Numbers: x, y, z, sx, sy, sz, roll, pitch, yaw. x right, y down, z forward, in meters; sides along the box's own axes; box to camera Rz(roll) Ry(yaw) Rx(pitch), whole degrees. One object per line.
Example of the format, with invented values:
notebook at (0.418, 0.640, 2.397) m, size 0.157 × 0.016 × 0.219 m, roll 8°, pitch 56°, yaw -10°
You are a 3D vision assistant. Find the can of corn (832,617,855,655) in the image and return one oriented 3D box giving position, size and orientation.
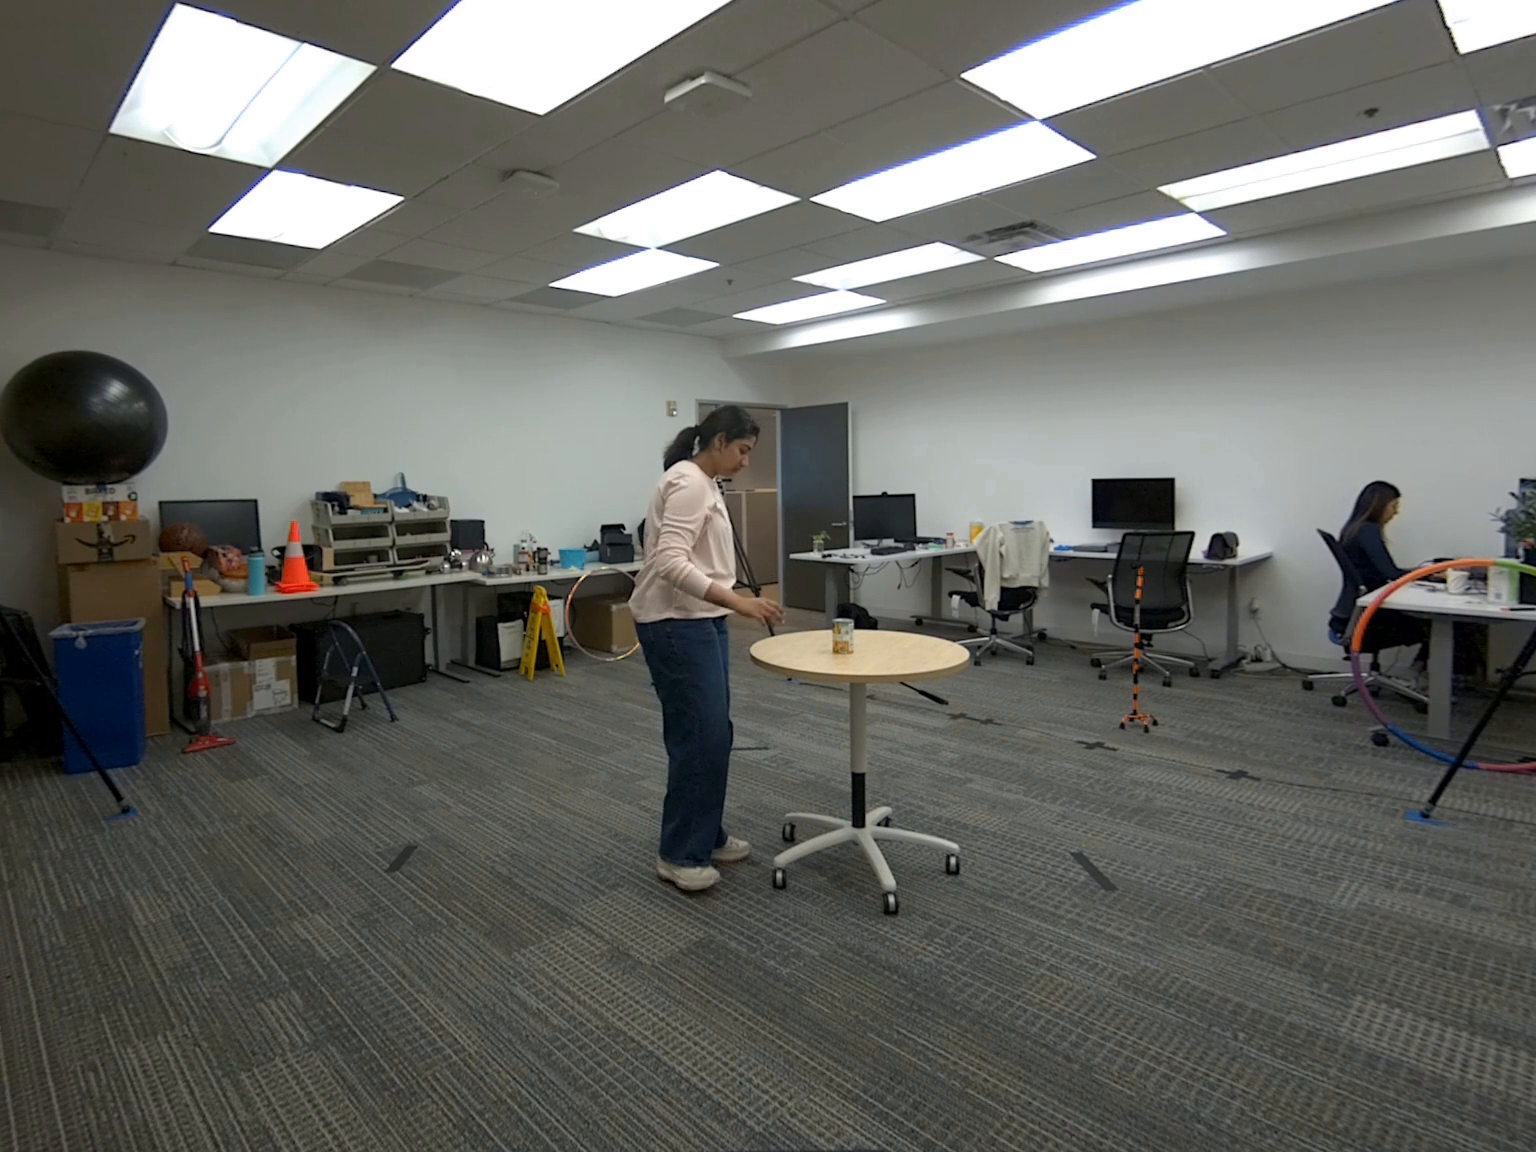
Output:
can of corn at (0.261, 0.211, 2.990) m, size 0.074 × 0.110 × 0.075 m, roll -1°, pitch 6°, yaw -2°
